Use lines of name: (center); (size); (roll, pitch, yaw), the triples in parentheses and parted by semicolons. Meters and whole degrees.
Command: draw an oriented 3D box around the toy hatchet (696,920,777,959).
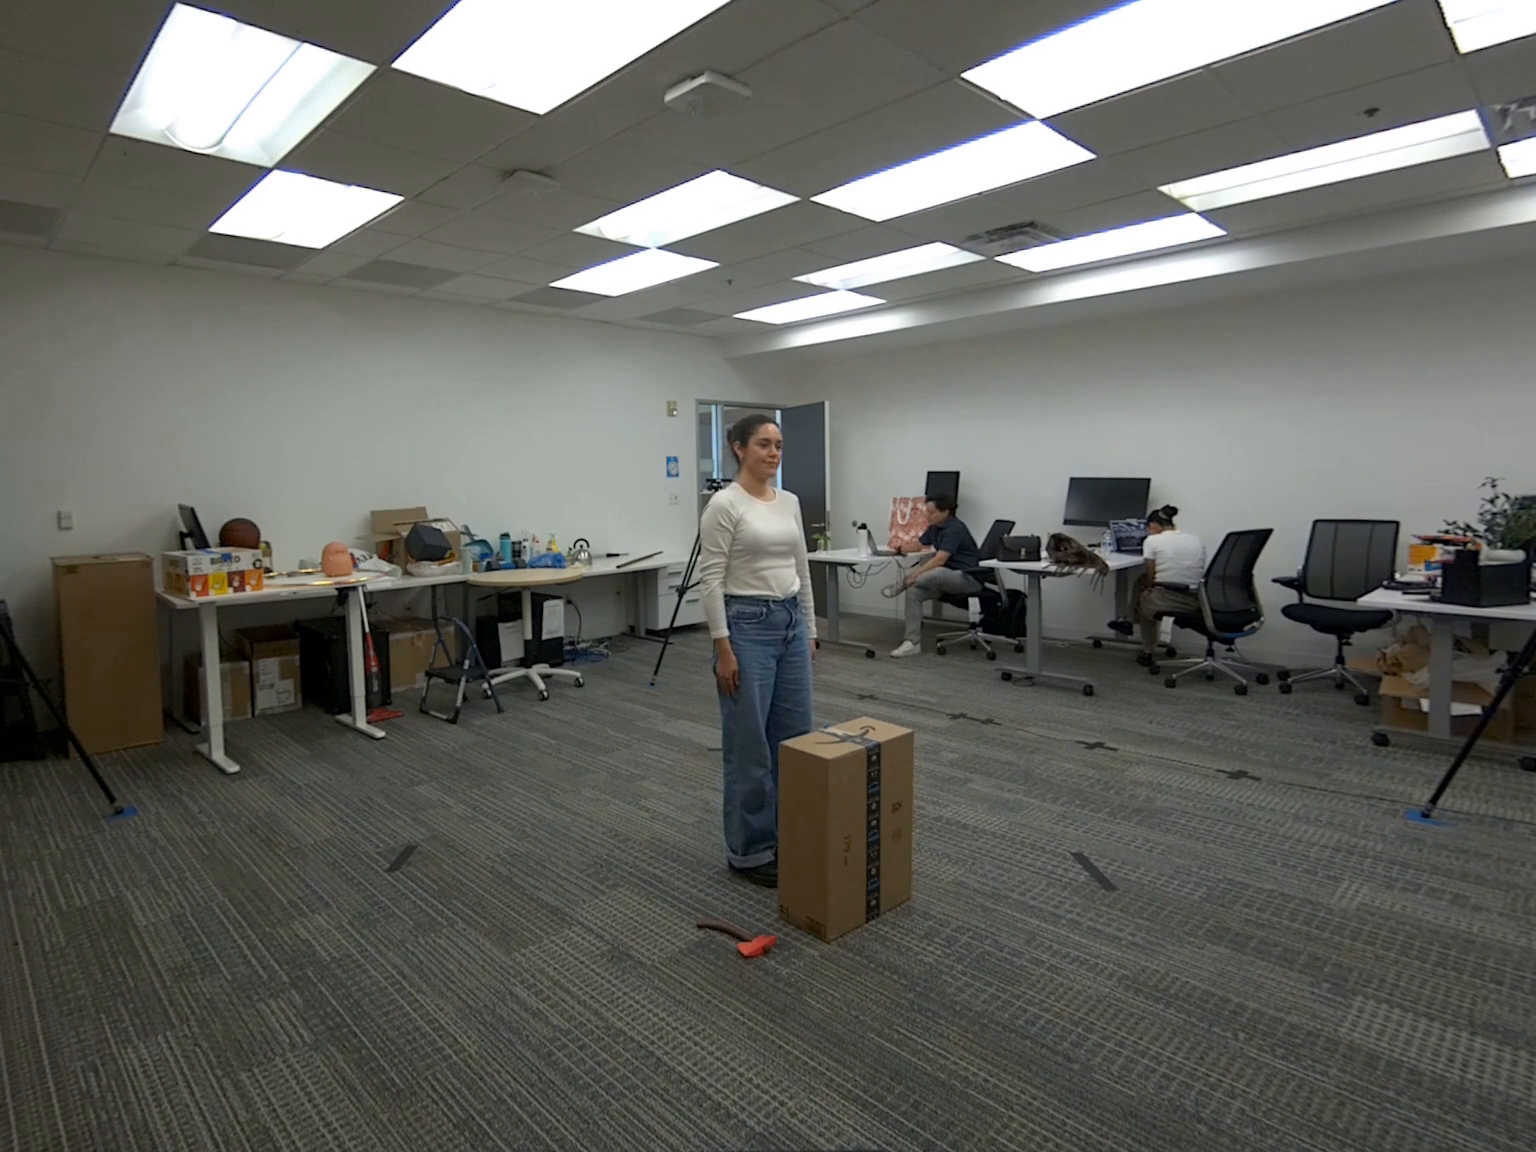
toy hatchet: (-0.113, 1.100, 2.583); (0.276, 0.029, 0.129); (0, 11, 28)
